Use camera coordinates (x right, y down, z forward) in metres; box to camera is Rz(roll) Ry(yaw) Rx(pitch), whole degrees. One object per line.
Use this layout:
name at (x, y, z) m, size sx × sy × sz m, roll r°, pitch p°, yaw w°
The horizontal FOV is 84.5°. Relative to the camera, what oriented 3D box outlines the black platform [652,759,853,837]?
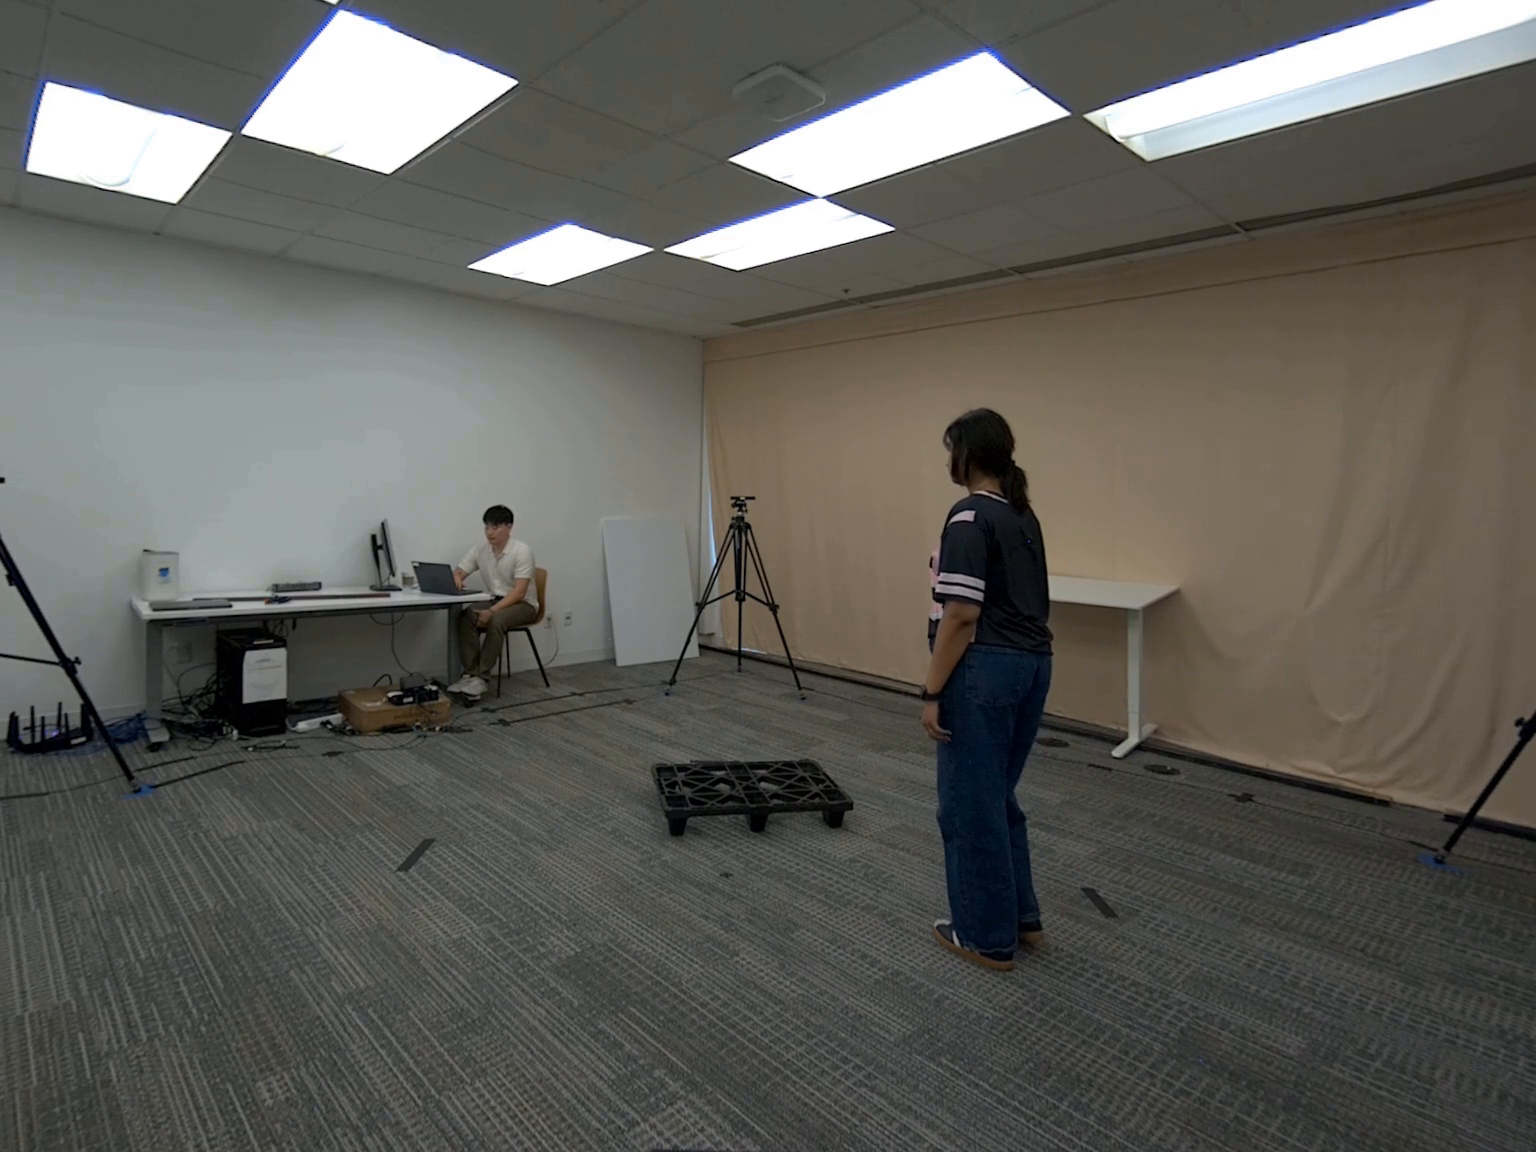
black platform at (-0.099, 0.983, 3.745) m, size 0.798 × 0.143 × 0.613 m, roll 0°, pitch 6°, yaw -12°
